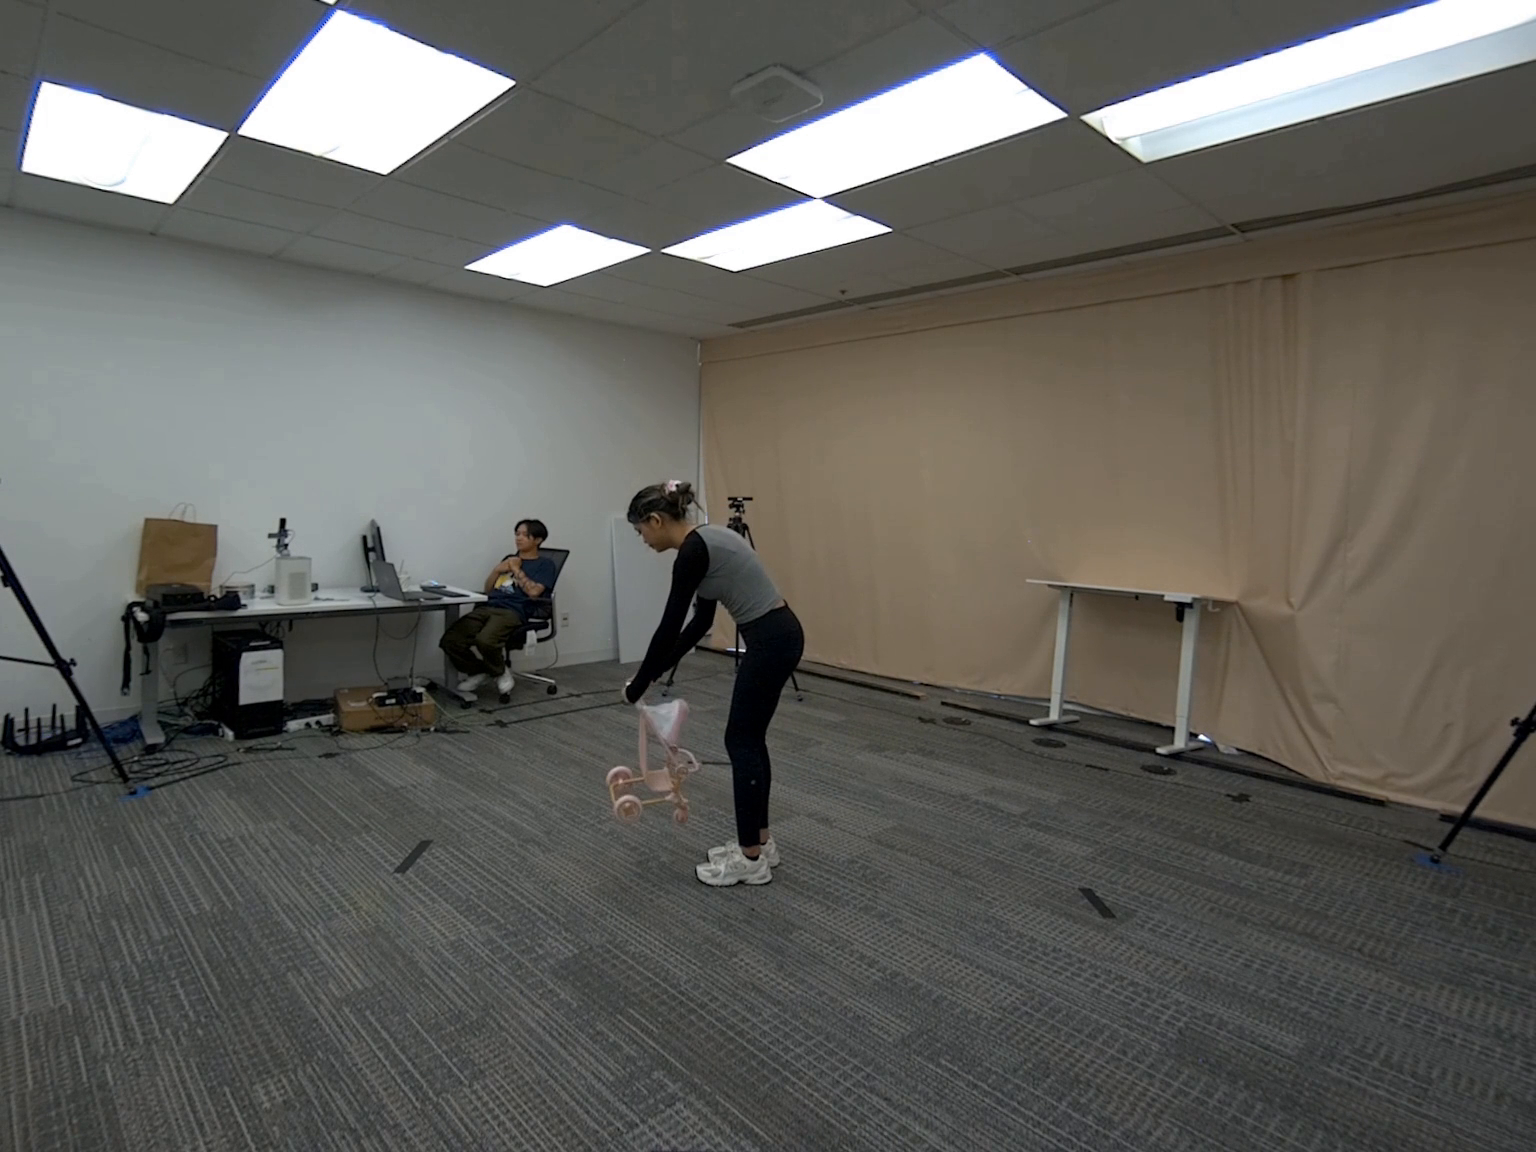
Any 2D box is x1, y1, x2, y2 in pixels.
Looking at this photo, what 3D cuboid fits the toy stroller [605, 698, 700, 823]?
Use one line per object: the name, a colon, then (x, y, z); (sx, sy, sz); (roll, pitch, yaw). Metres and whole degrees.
toy stroller: (-0.426, 0.695, 3.221); (0.337, 0.533, 0.285); (9, 6, -13)
